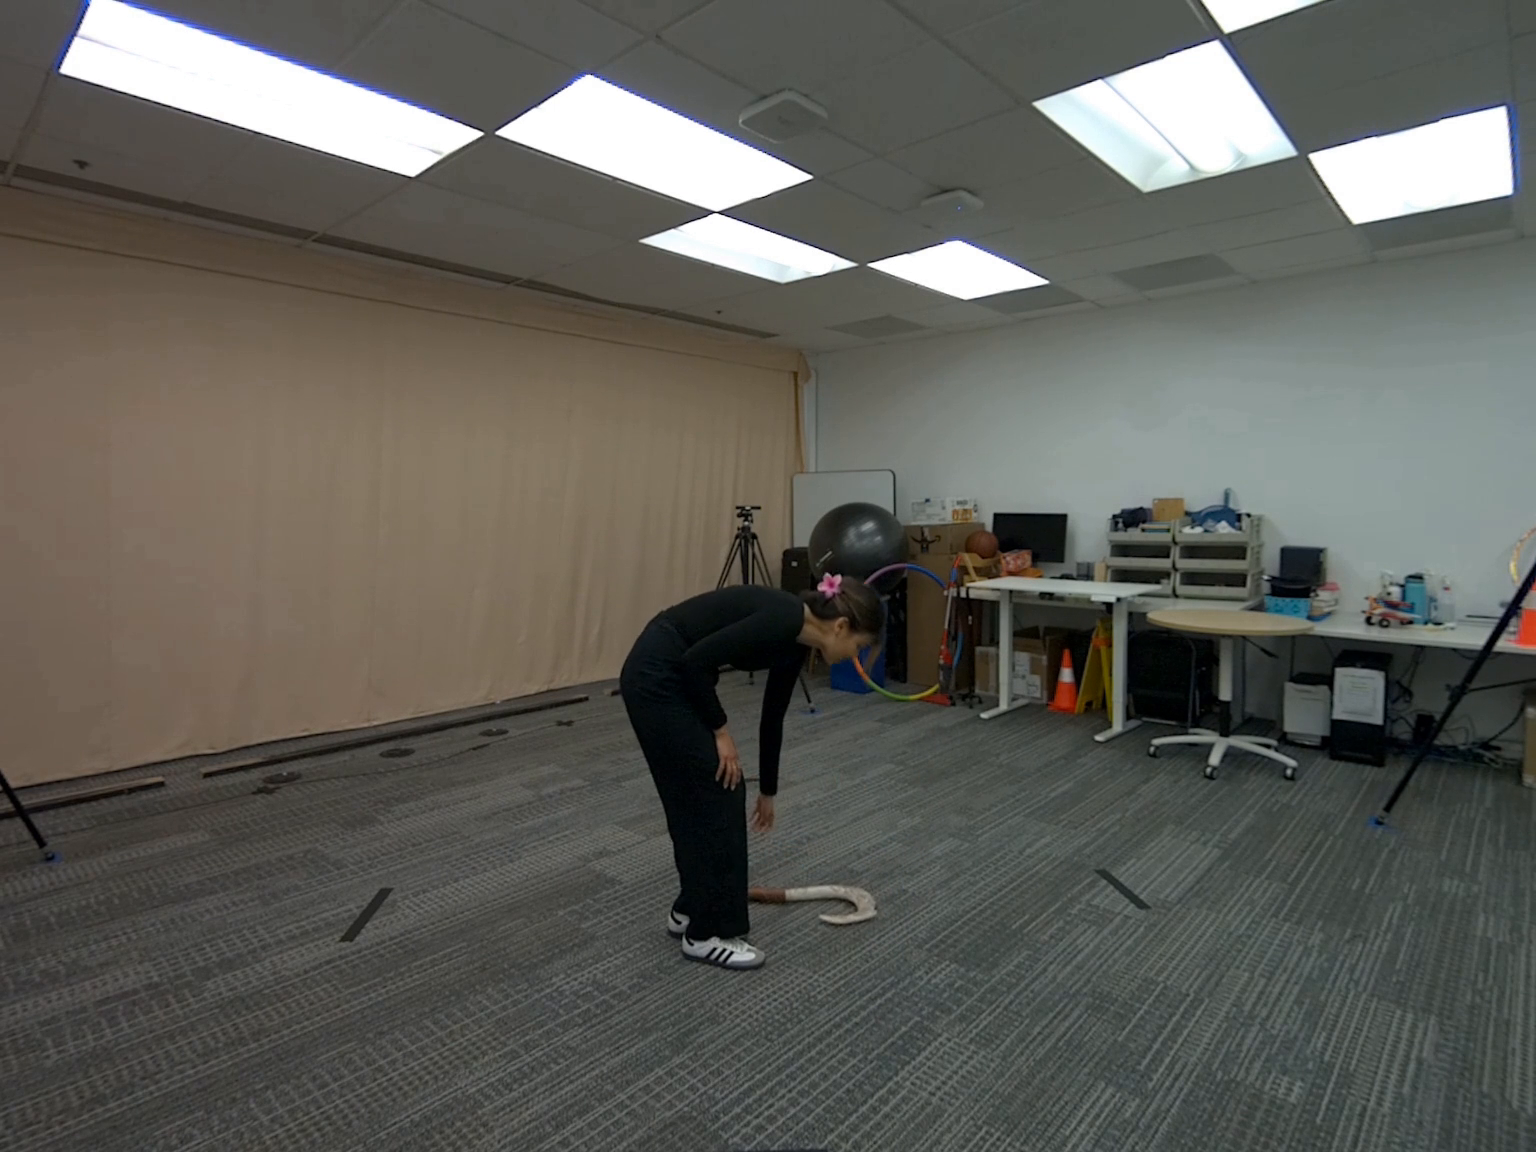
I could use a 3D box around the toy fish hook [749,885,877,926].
[{"bbox_3d":[0.119,1.122,2.901,0.509,0.048,0.224,0,3,4],"label":"toy fish hook"}]
